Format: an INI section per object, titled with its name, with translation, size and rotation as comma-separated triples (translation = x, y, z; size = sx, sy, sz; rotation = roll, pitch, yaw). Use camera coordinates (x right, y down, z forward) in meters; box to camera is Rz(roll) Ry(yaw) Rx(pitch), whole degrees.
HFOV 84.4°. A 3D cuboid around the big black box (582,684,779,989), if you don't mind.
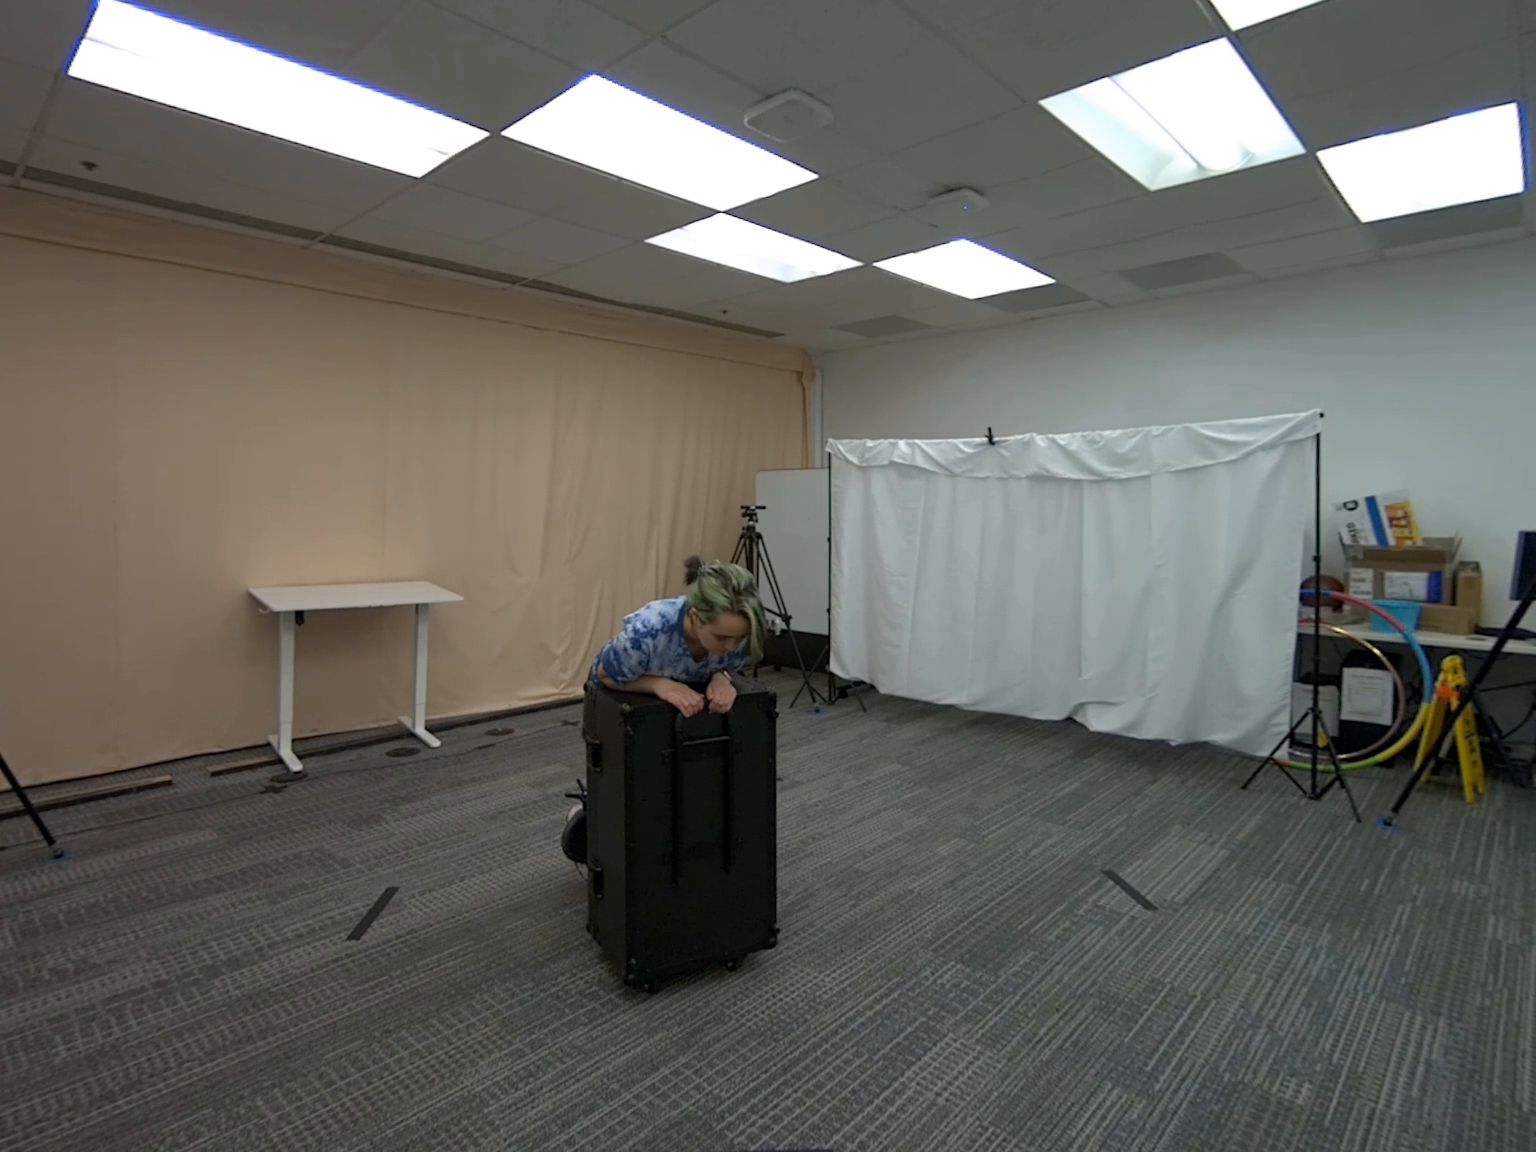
[big black box]
translation = -0.259, 0.706, 2.541
size = 0.508, 0.859, 0.407
rotation = -2, 4, -28
